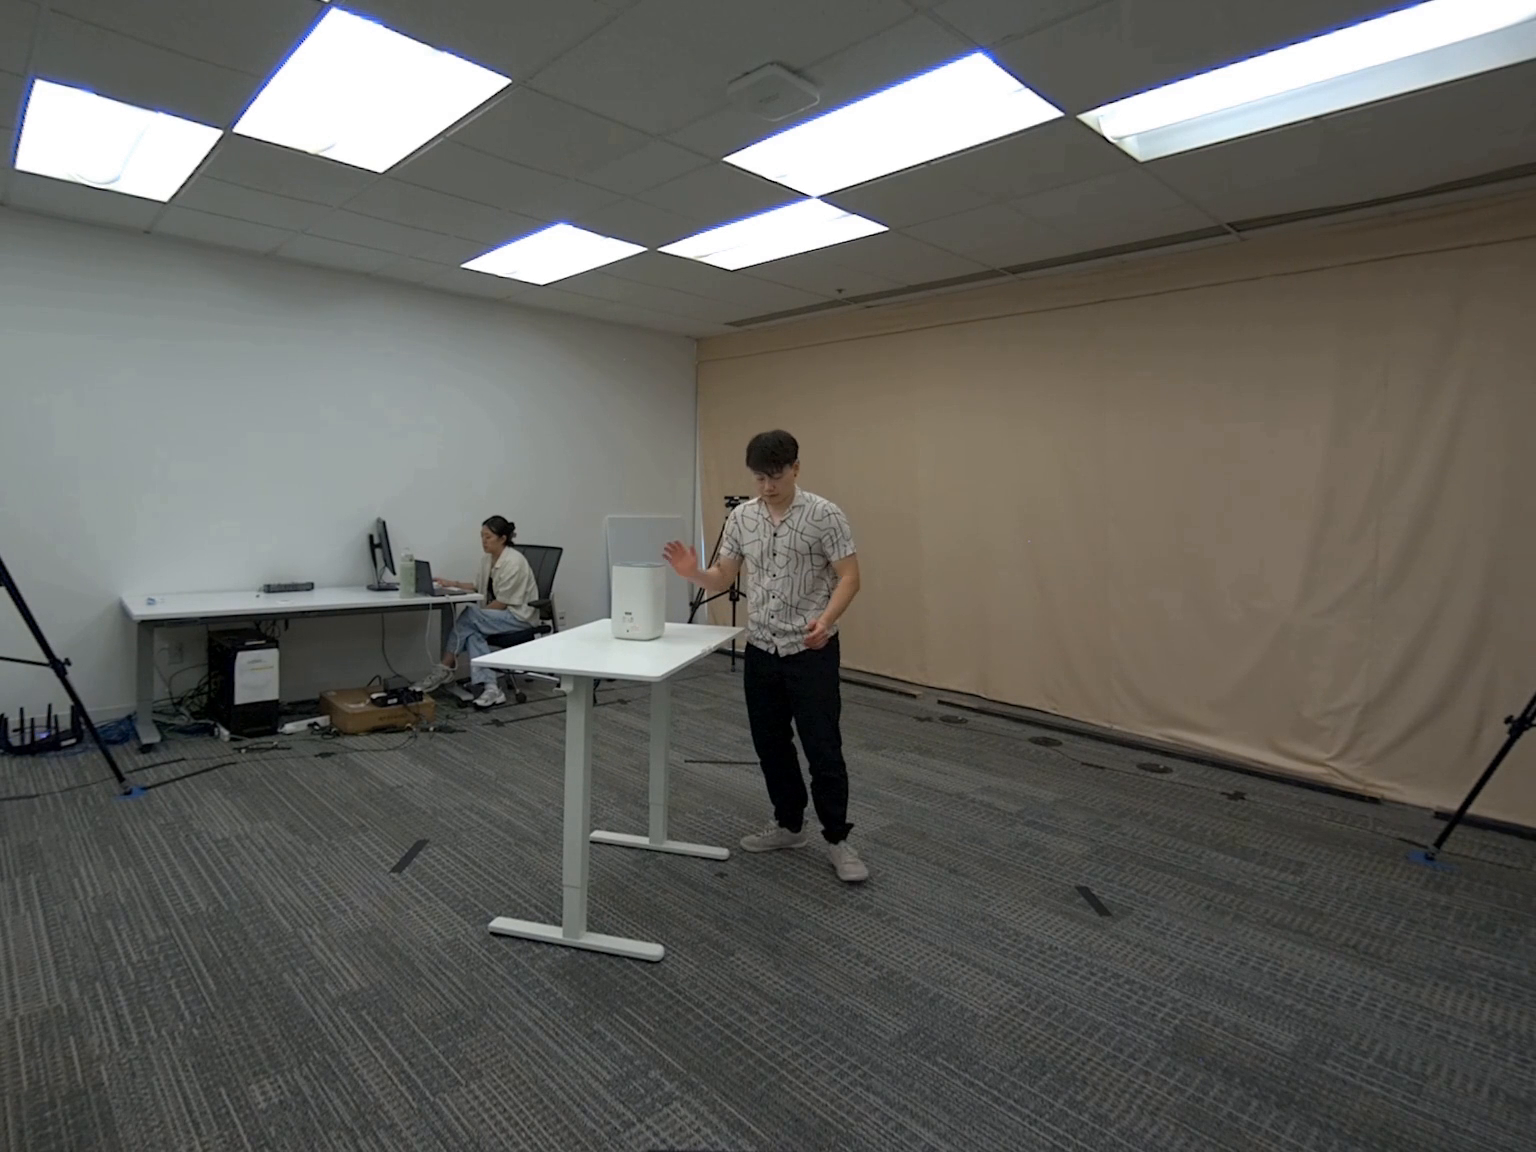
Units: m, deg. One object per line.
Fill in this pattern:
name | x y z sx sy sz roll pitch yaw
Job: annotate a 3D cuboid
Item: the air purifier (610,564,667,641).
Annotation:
air purifier | -0.476 0.090 3.020 0.173 0.265 0.170 2 2 13
